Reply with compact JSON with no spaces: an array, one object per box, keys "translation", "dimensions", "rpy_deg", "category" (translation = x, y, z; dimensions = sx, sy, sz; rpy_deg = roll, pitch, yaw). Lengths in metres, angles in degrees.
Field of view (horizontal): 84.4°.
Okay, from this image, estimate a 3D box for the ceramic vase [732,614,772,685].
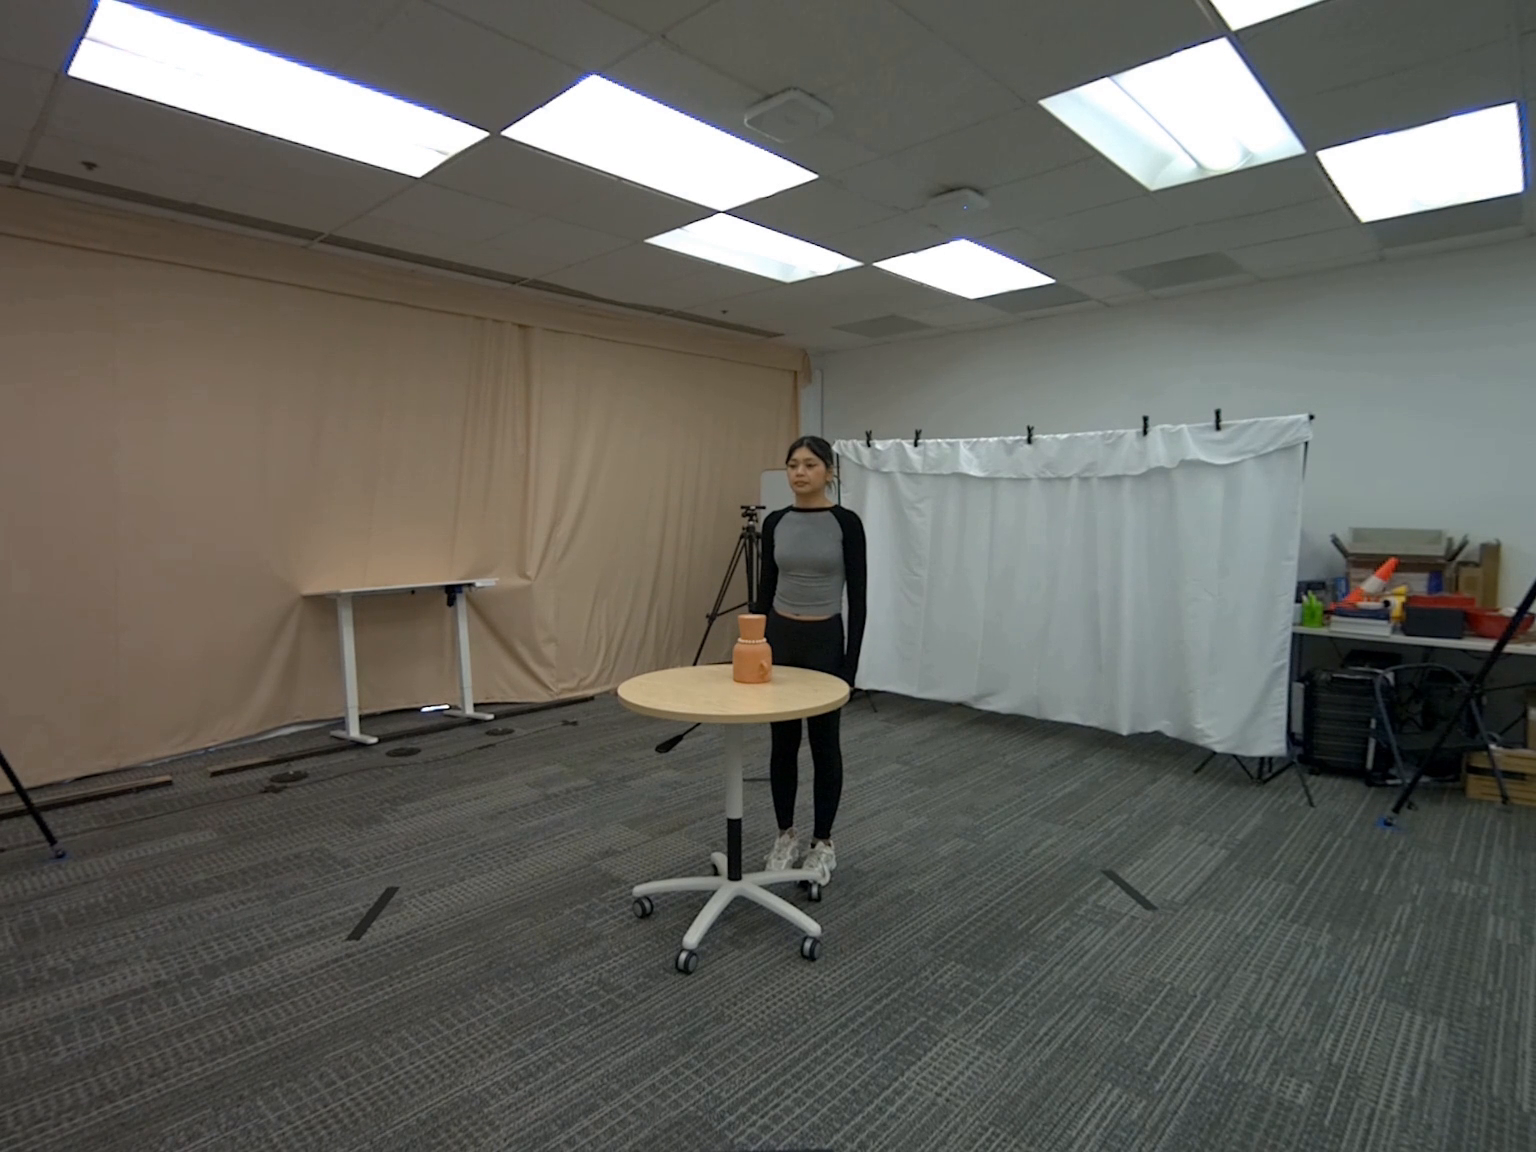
[{"translation":[-0.050,0.249,2.891],"dimensions":[0.162,0.219,0.132],"rpy_deg":[1,4,21],"category":"ceramic vase"}]
